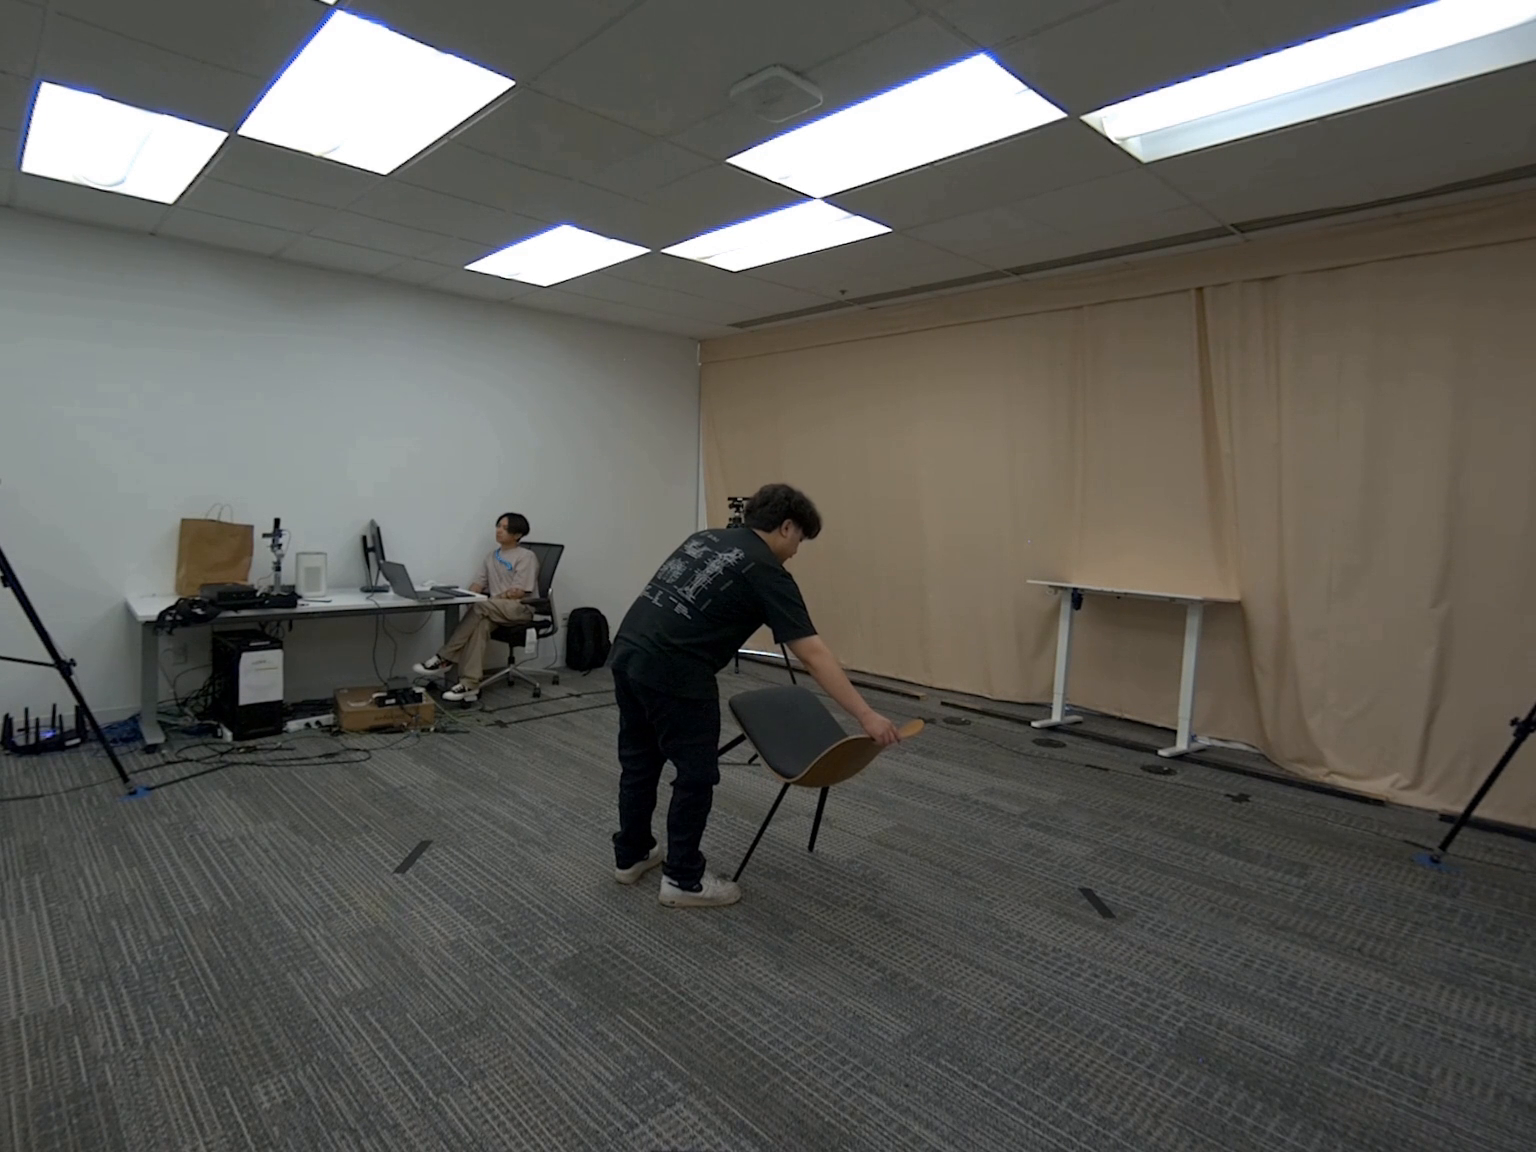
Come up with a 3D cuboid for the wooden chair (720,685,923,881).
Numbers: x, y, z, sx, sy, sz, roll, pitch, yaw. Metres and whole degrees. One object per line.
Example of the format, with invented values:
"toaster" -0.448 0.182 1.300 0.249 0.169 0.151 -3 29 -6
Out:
"wooden chair" 0.091 0.635 3.111 0.467 0.874 0.537 -3 48 -46
